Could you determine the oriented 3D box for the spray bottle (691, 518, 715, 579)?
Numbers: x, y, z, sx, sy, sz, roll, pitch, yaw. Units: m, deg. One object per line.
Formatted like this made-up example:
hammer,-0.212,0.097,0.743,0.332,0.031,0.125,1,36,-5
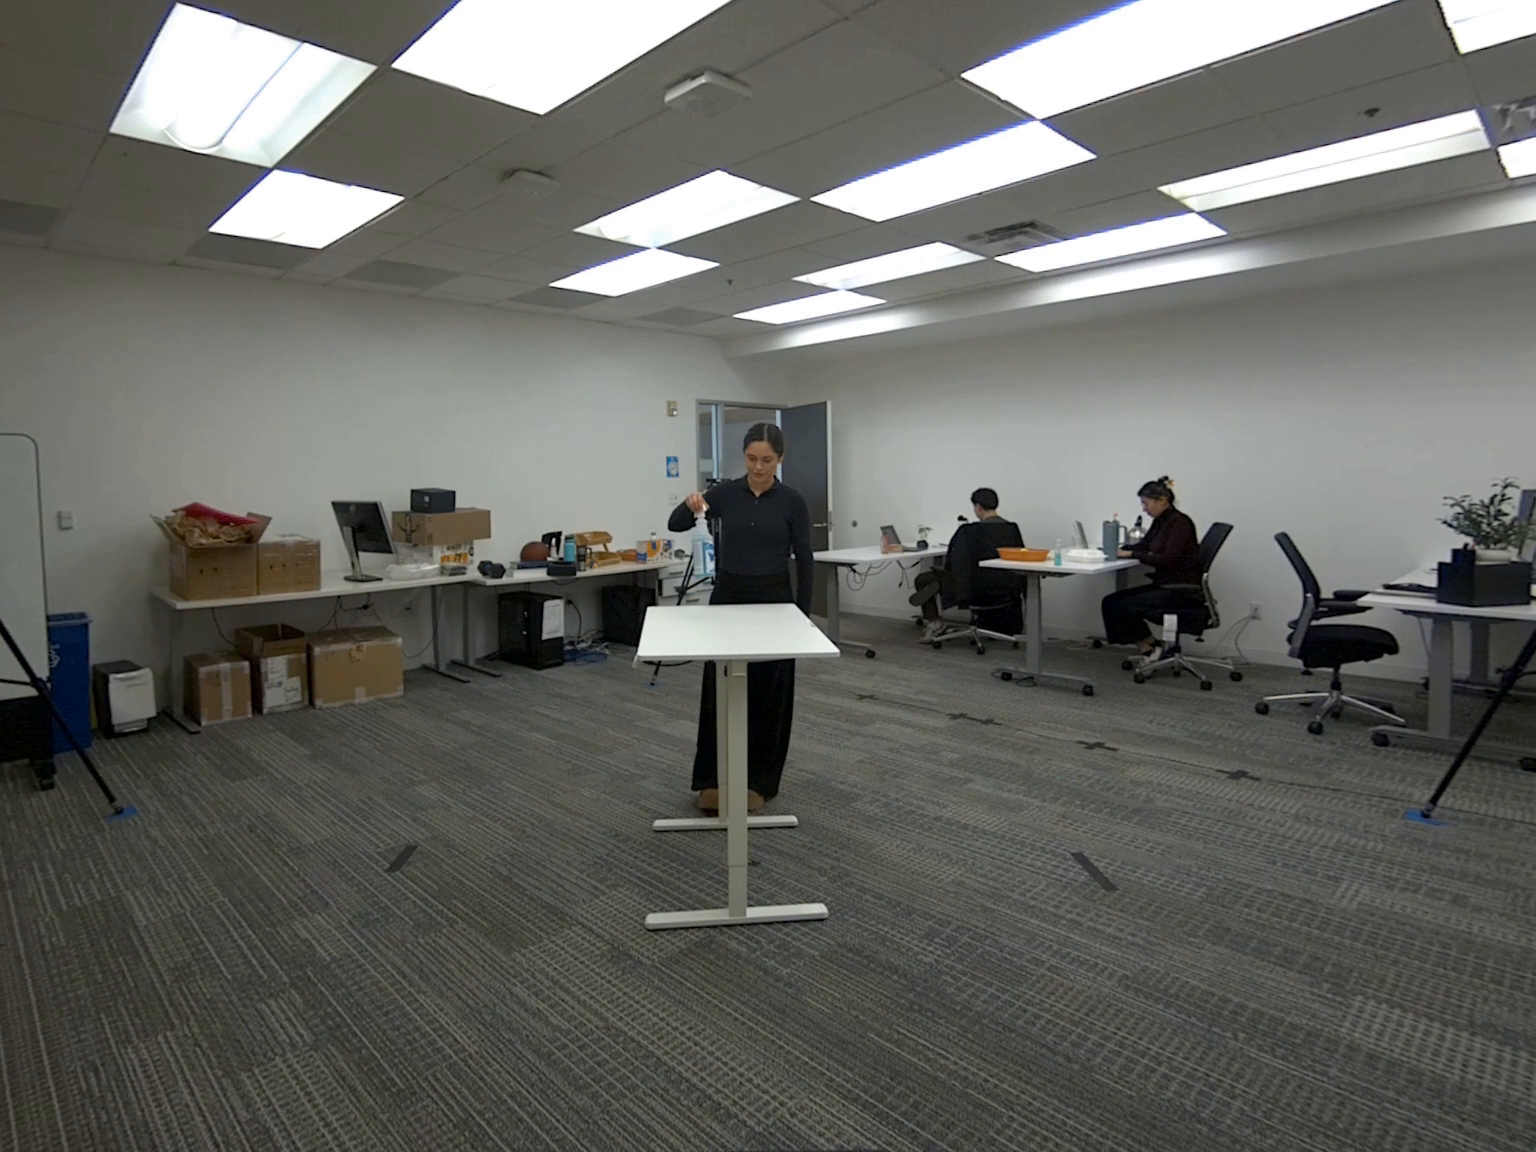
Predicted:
spray bottle,-0.259,-0.139,3.430,0.086,0.298,0.090,-5,-3,-9
